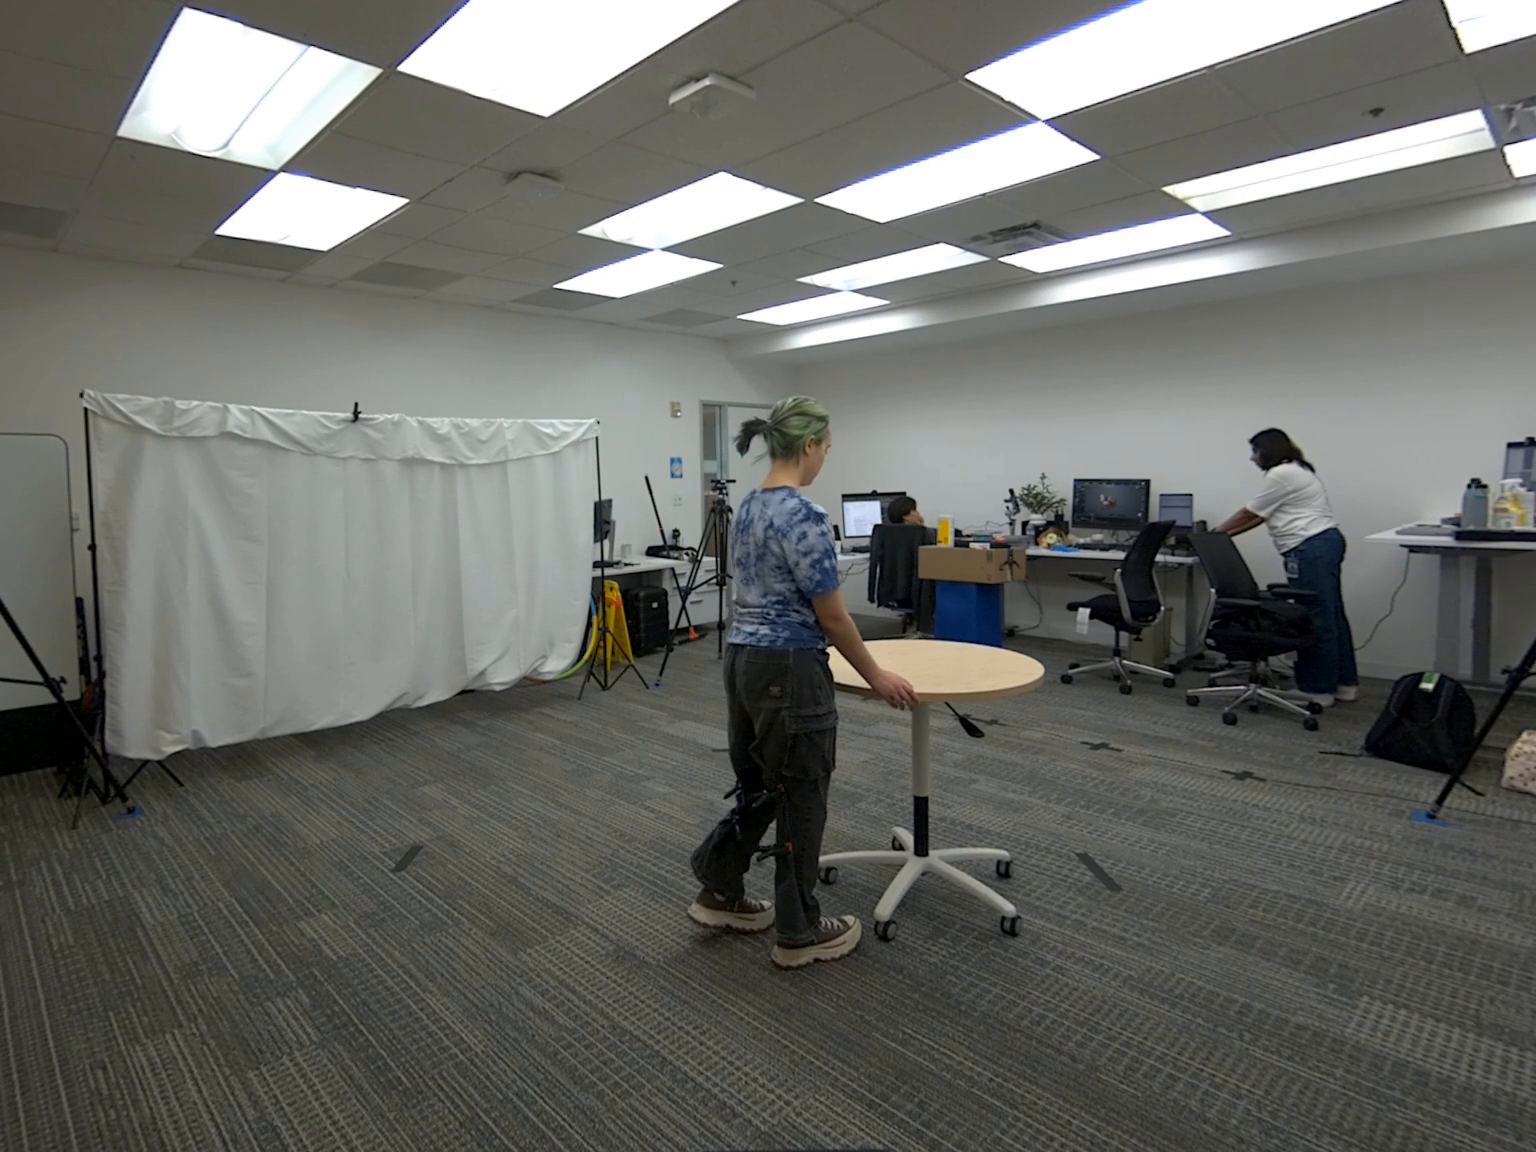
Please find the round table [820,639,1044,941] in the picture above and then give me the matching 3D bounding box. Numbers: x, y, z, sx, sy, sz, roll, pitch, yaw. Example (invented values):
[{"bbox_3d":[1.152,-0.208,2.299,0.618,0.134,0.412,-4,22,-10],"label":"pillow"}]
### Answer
[{"bbox_3d":[0.514,0.679,2.827,0.763,0.791,0.768,-1,5,-2],"label":"round table"}]
